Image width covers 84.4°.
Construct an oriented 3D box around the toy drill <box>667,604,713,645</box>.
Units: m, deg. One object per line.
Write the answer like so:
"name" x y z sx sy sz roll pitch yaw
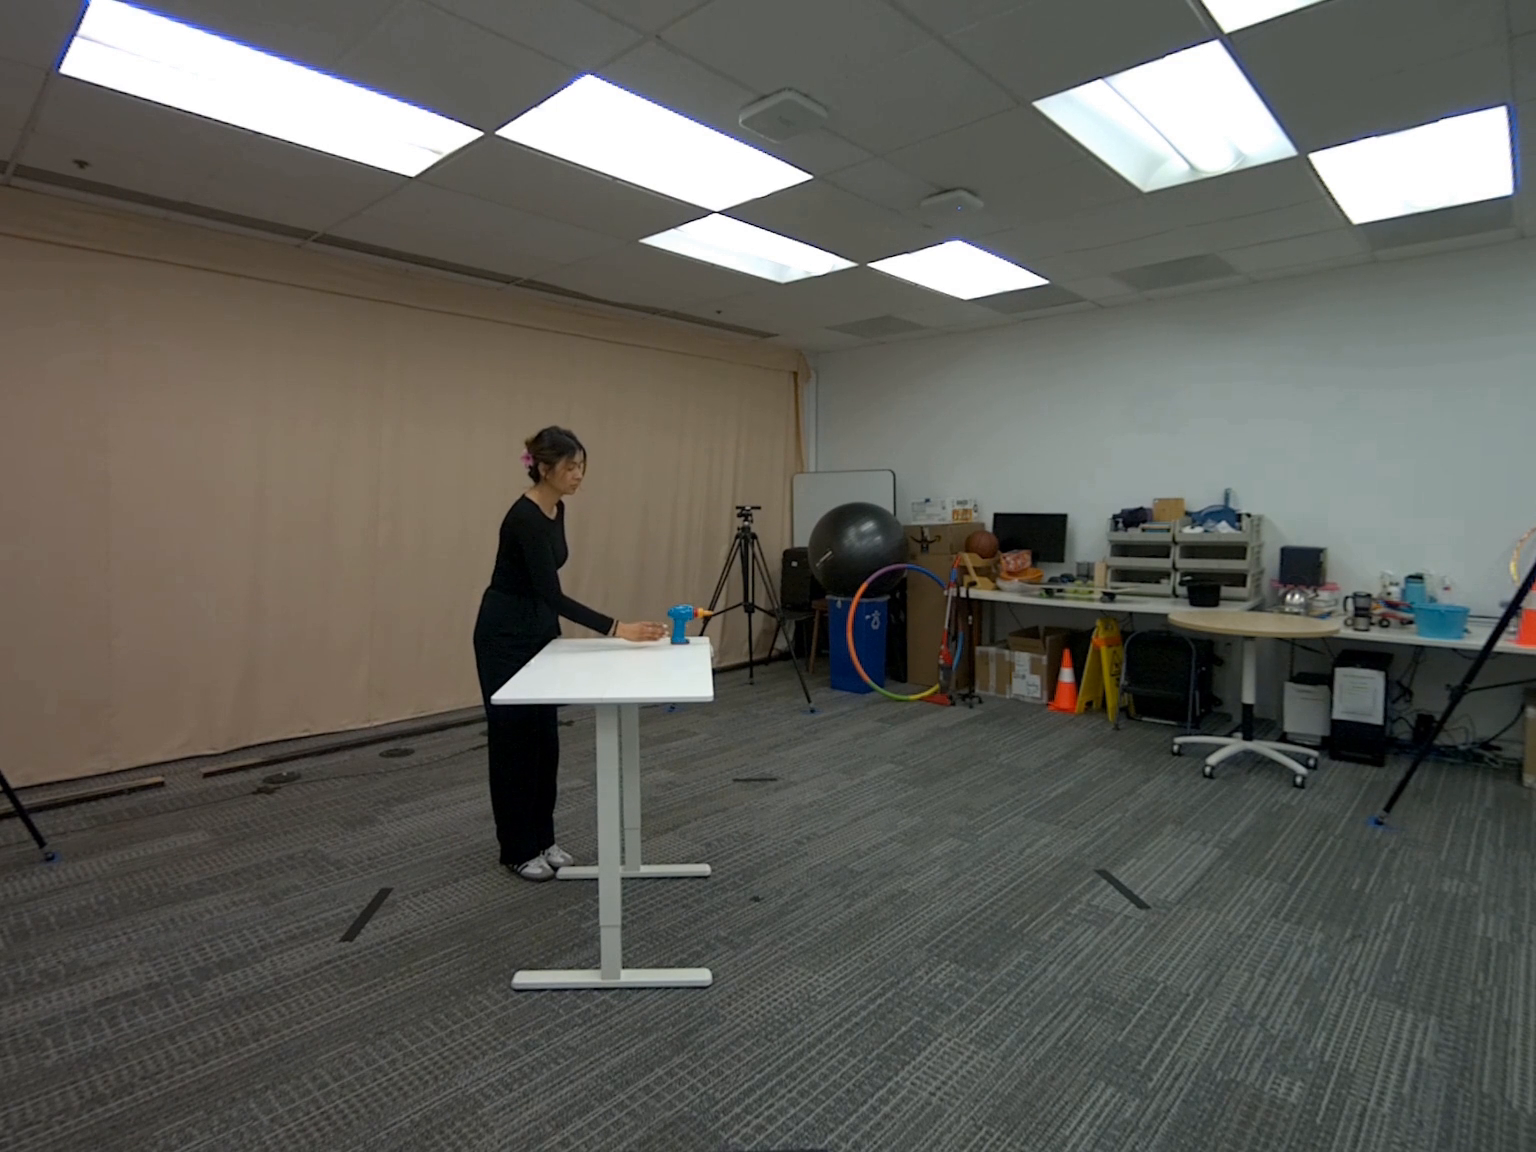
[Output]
"toy drill" -0.288 0.179 3.114 0.170 0.145 0.061 -1 7 0
